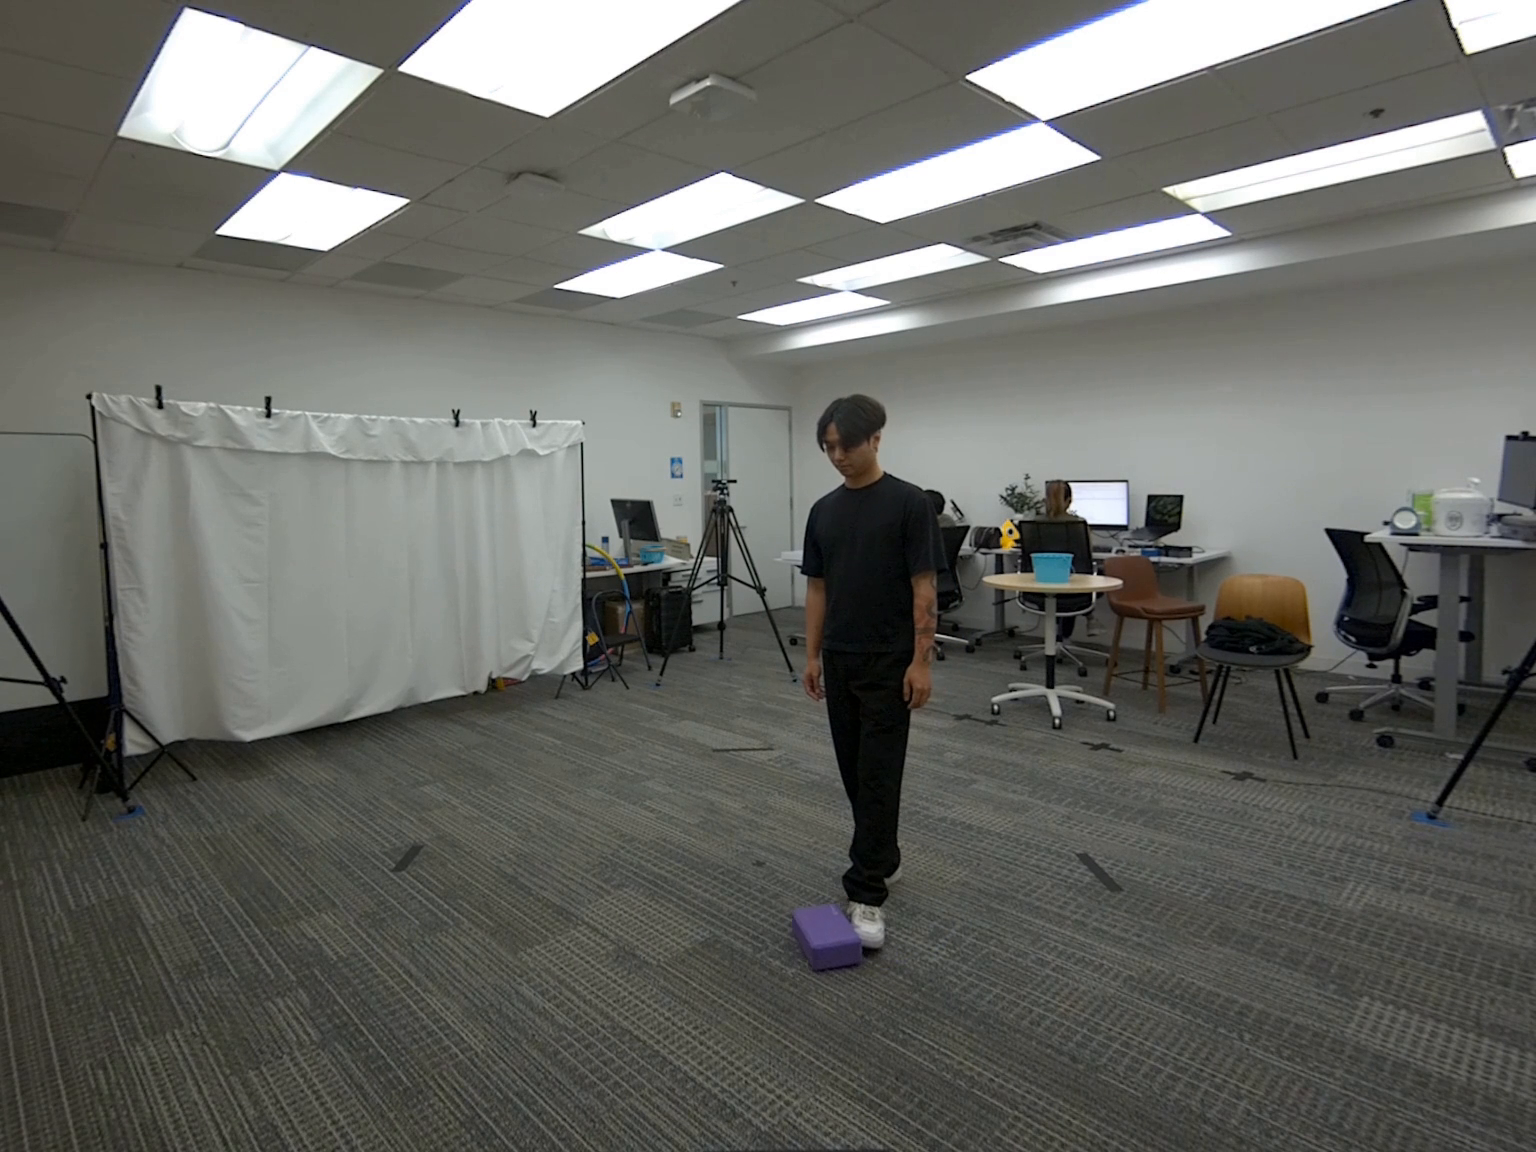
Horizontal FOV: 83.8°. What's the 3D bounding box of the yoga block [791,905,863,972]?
[{"bbox_3d":[0.176,1.067,2.538,0.147,0.076,0.233,-5,7,-13],"label":"yoga block"}]
